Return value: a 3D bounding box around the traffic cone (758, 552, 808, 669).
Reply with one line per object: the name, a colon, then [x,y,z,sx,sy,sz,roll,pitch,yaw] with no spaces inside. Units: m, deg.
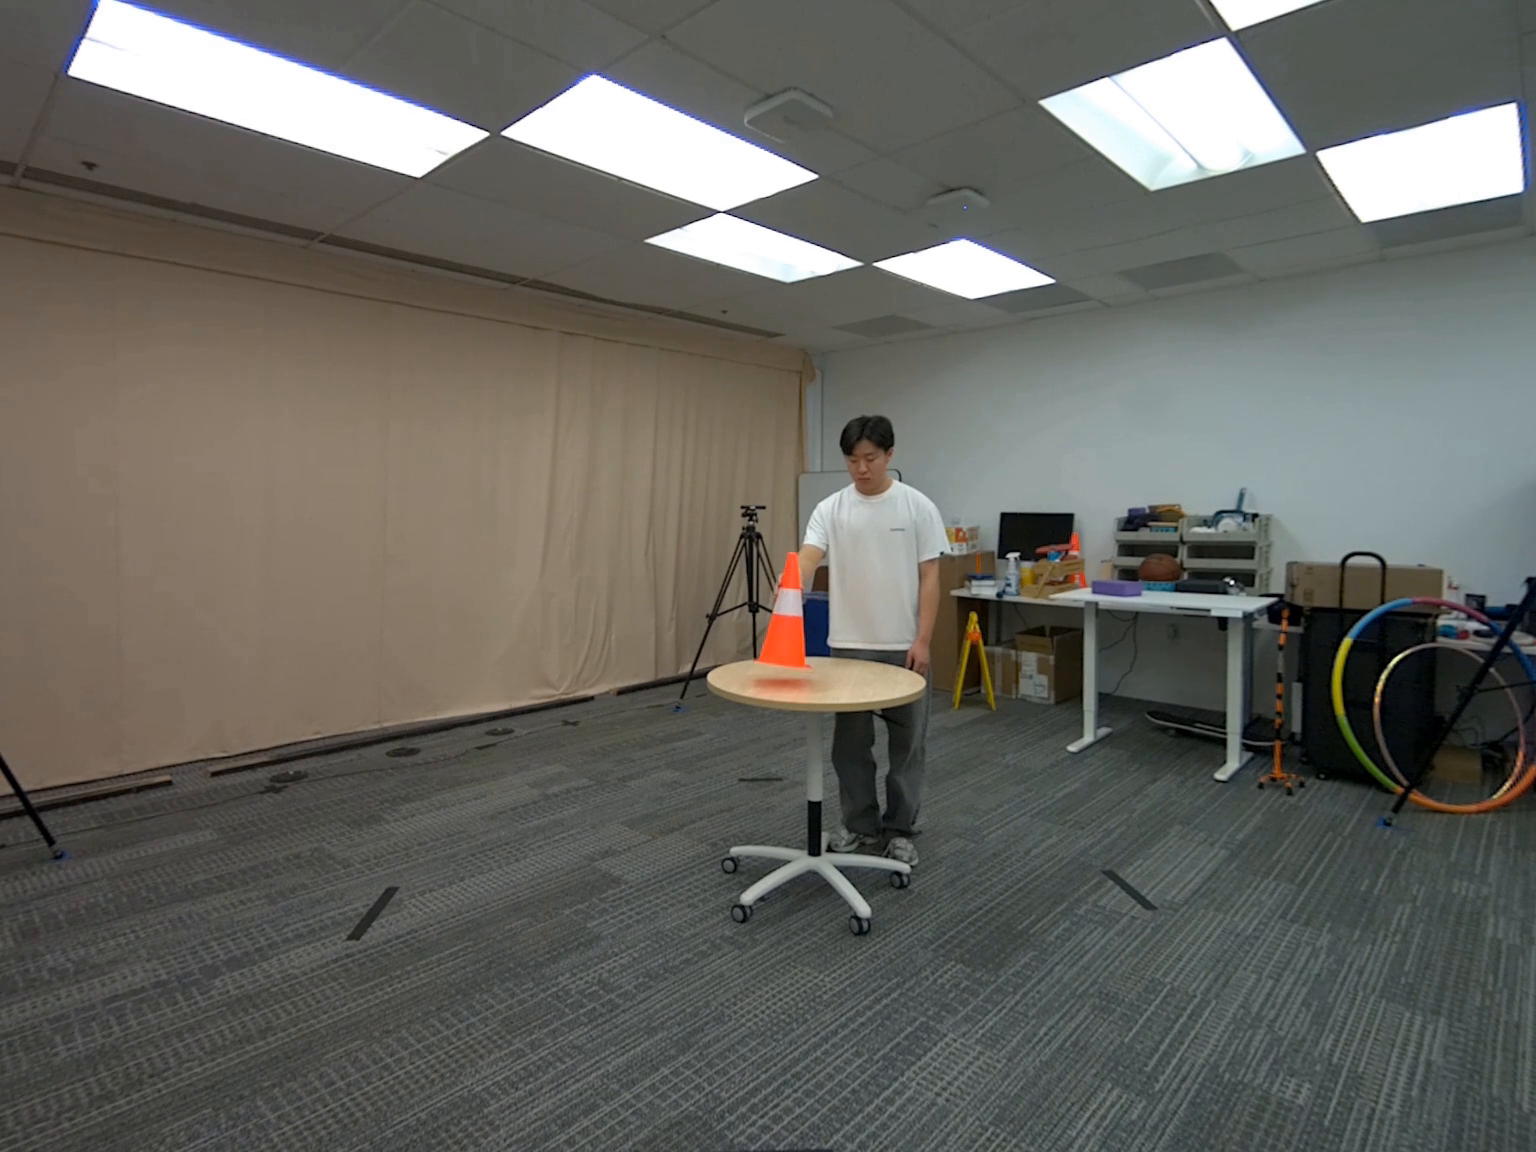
traffic cone: [0.082,0.117,2.880,0.205,0.384,0.203,5,-2,0]
